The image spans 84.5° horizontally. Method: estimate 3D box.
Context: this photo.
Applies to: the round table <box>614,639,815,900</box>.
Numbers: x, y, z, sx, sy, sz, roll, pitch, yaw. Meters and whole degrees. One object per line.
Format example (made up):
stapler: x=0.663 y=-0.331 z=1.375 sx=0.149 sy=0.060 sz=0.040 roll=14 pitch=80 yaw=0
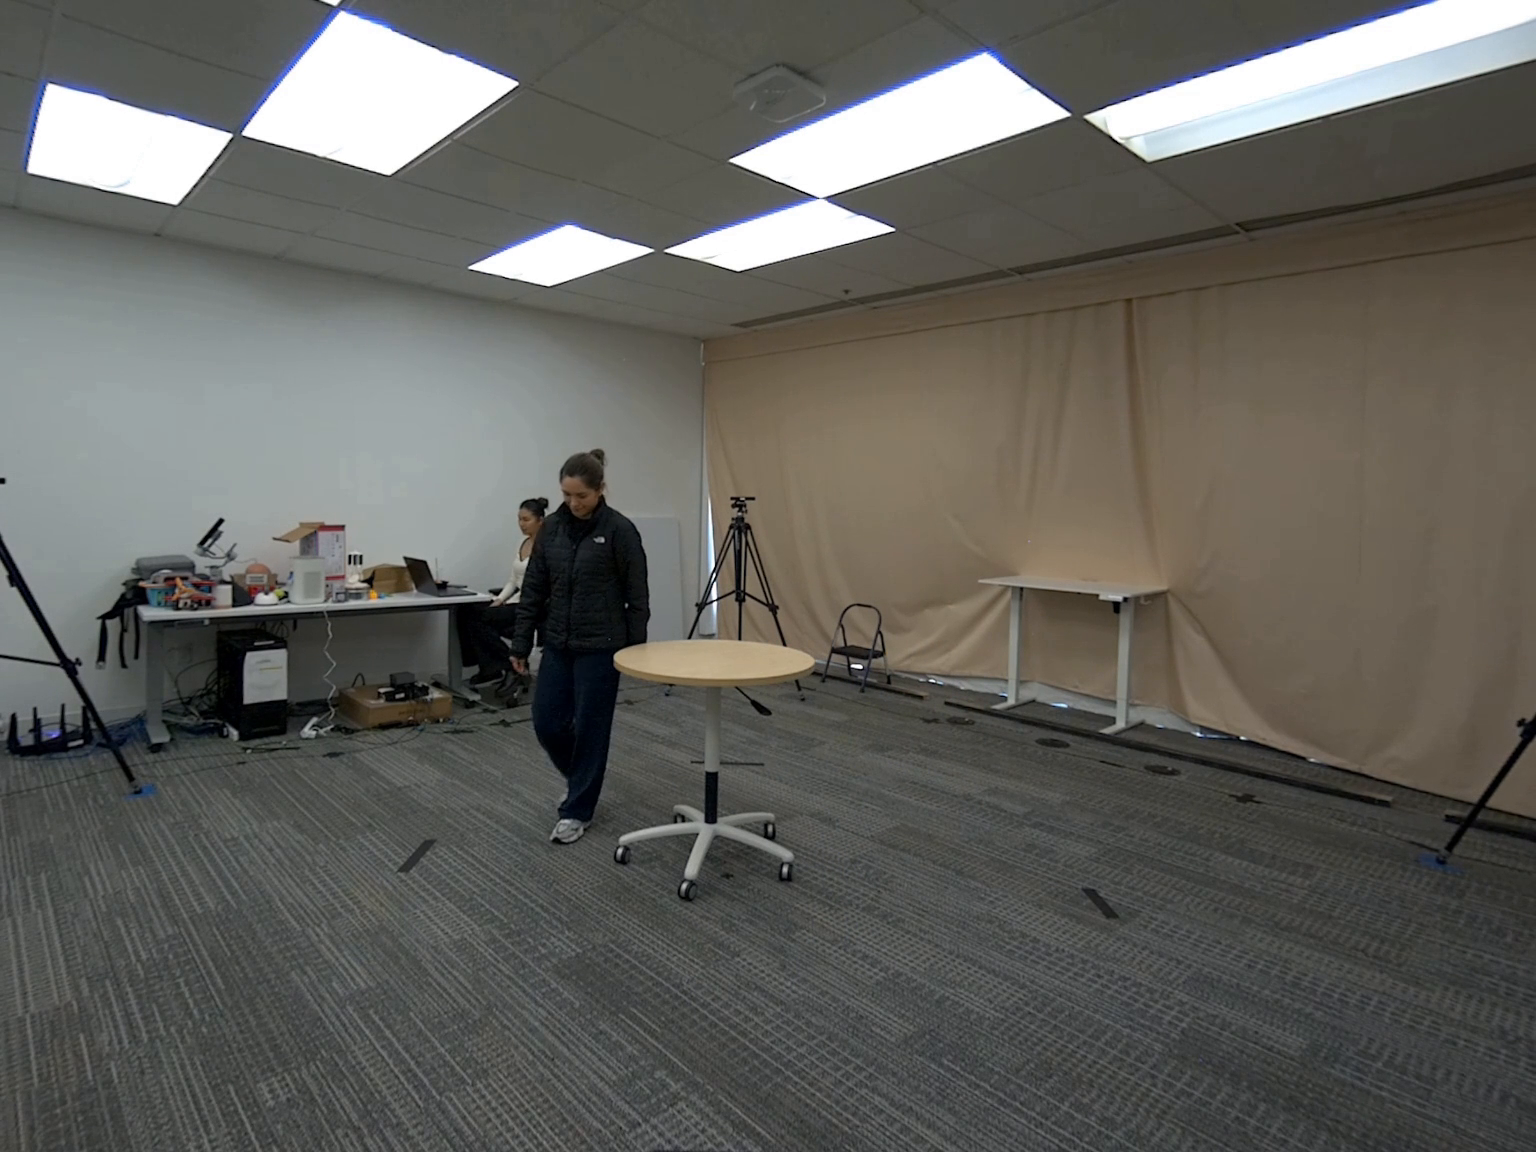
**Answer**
round table: x=-0.203 y=0.702 z=3.225 sx=0.784 sy=0.784 sz=0.788 roll=1 pitch=4 yaw=-1
